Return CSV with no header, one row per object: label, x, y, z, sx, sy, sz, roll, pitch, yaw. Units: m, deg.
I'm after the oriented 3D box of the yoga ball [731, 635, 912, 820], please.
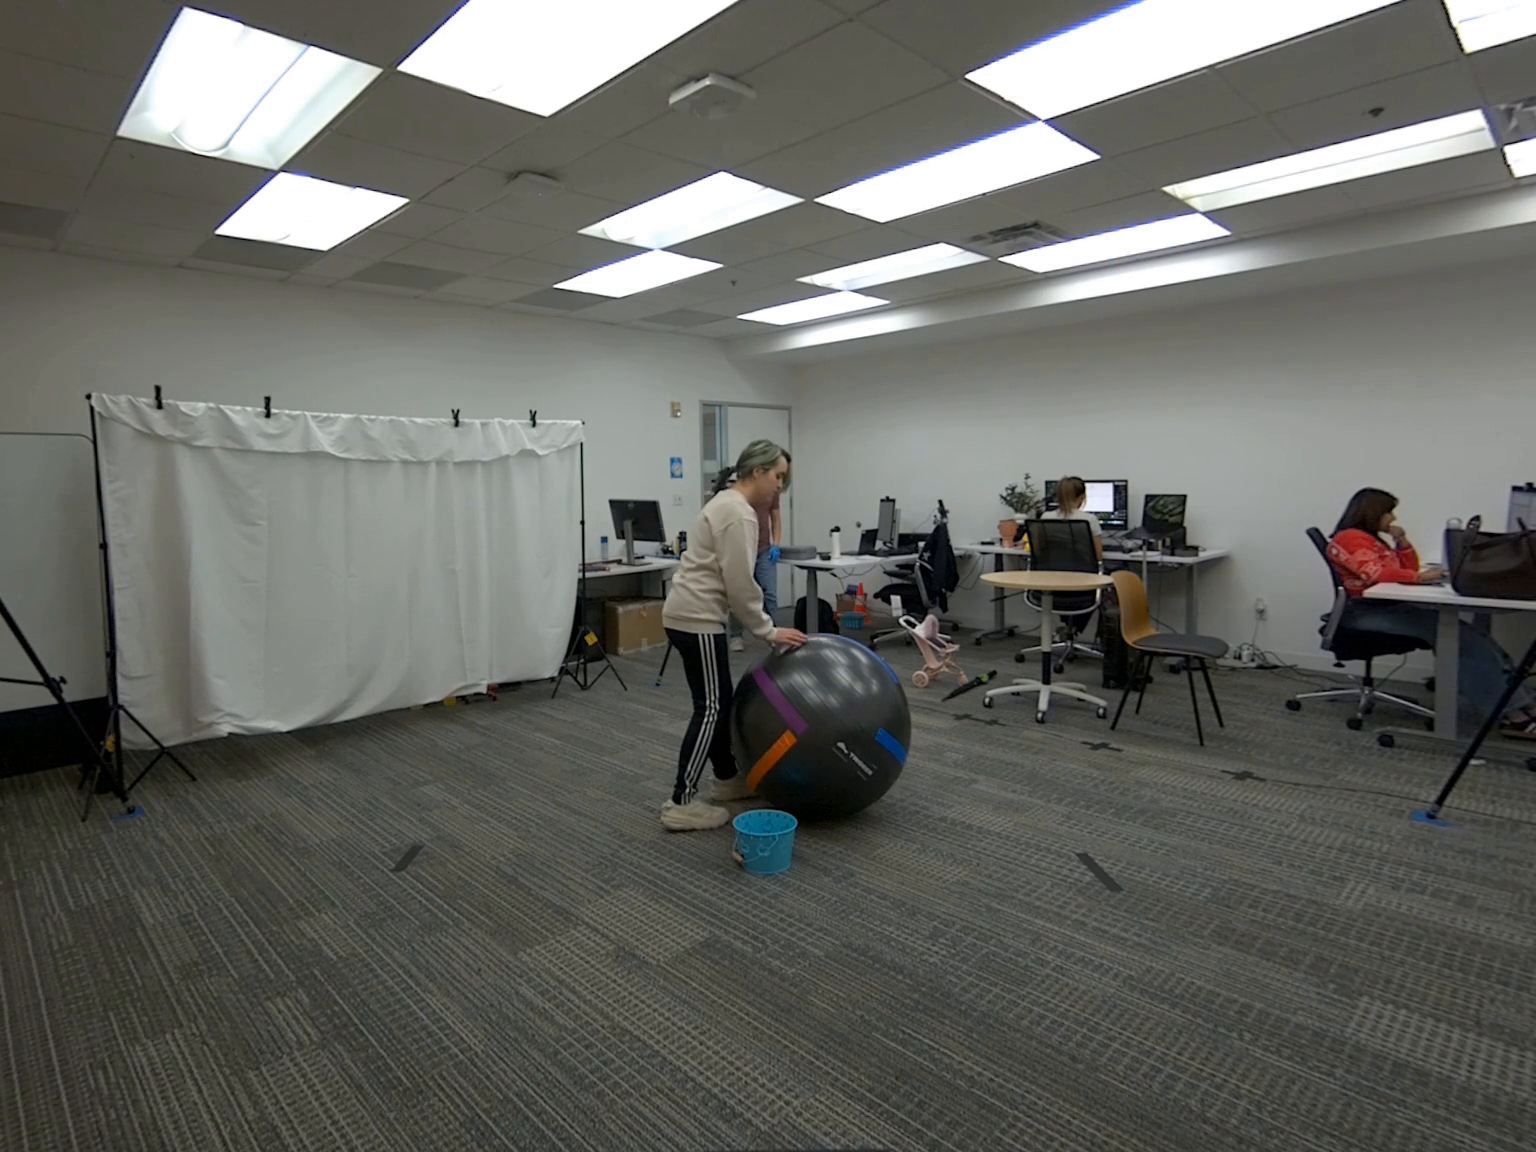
yoga ball,0.221,0.625,3.579,0.757,0.755,0.762,-1,5,-2
